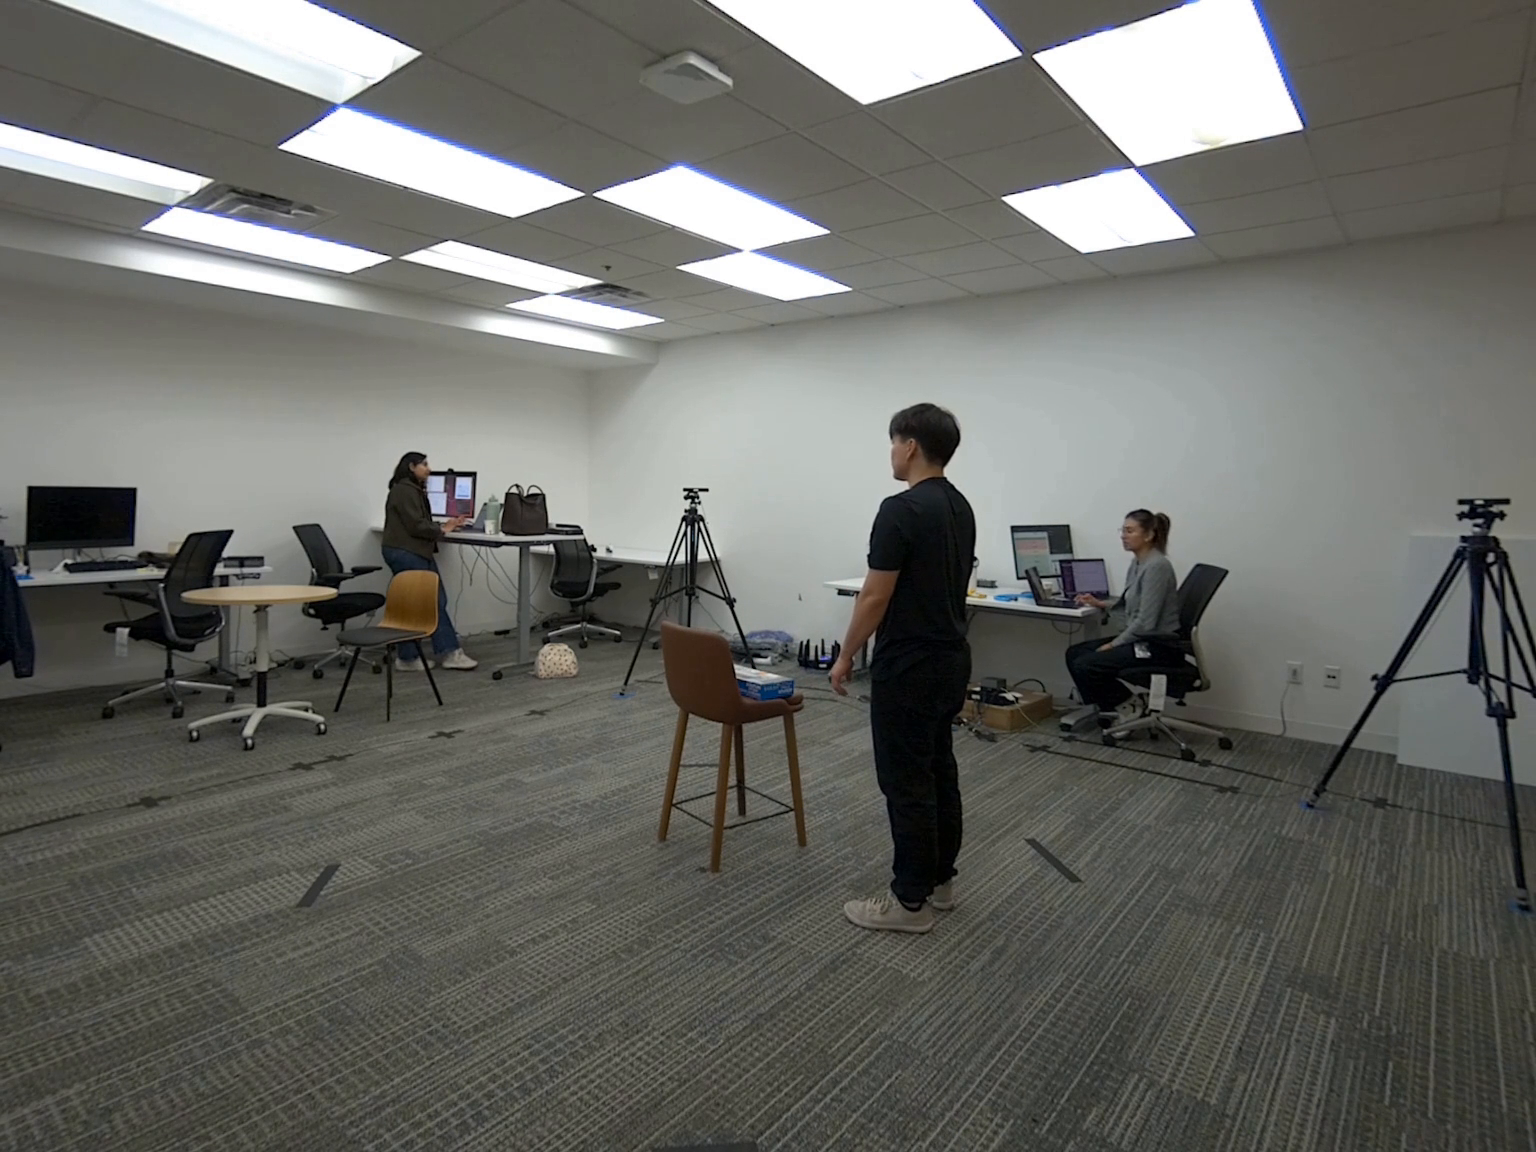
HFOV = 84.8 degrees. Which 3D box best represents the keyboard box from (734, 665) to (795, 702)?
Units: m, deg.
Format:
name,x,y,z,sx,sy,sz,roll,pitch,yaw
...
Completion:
name,x,y,z,sx,sy,sz,roll,pitch,yaw
keyboard box,-0.116,0.405,3.353,0.170,0.059,0.452,-2,6,-41
